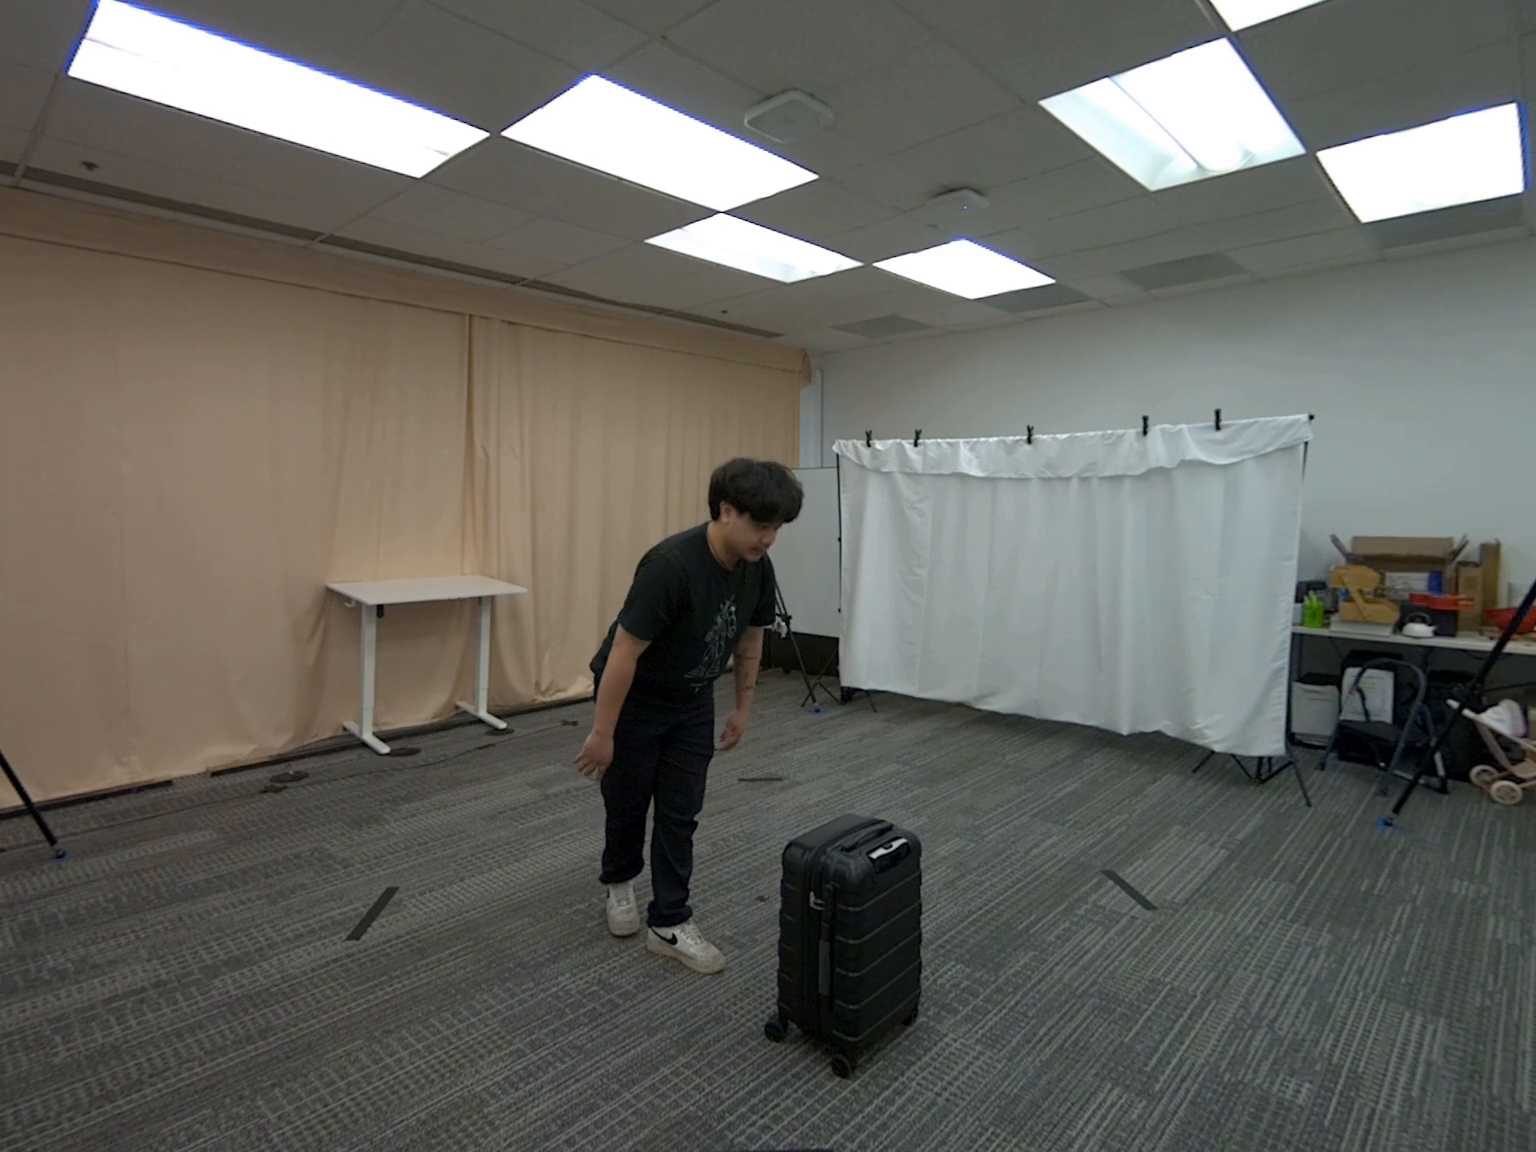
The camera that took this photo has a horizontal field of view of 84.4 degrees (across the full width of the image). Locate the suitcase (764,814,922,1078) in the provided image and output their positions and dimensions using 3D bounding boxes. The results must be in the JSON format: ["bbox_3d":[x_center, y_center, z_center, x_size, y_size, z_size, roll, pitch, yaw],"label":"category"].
[{"bbox_3d":[0.219,0.933,2.208,0.257,0.548,0.364,5,6,42],"label":"suitcase"}]
